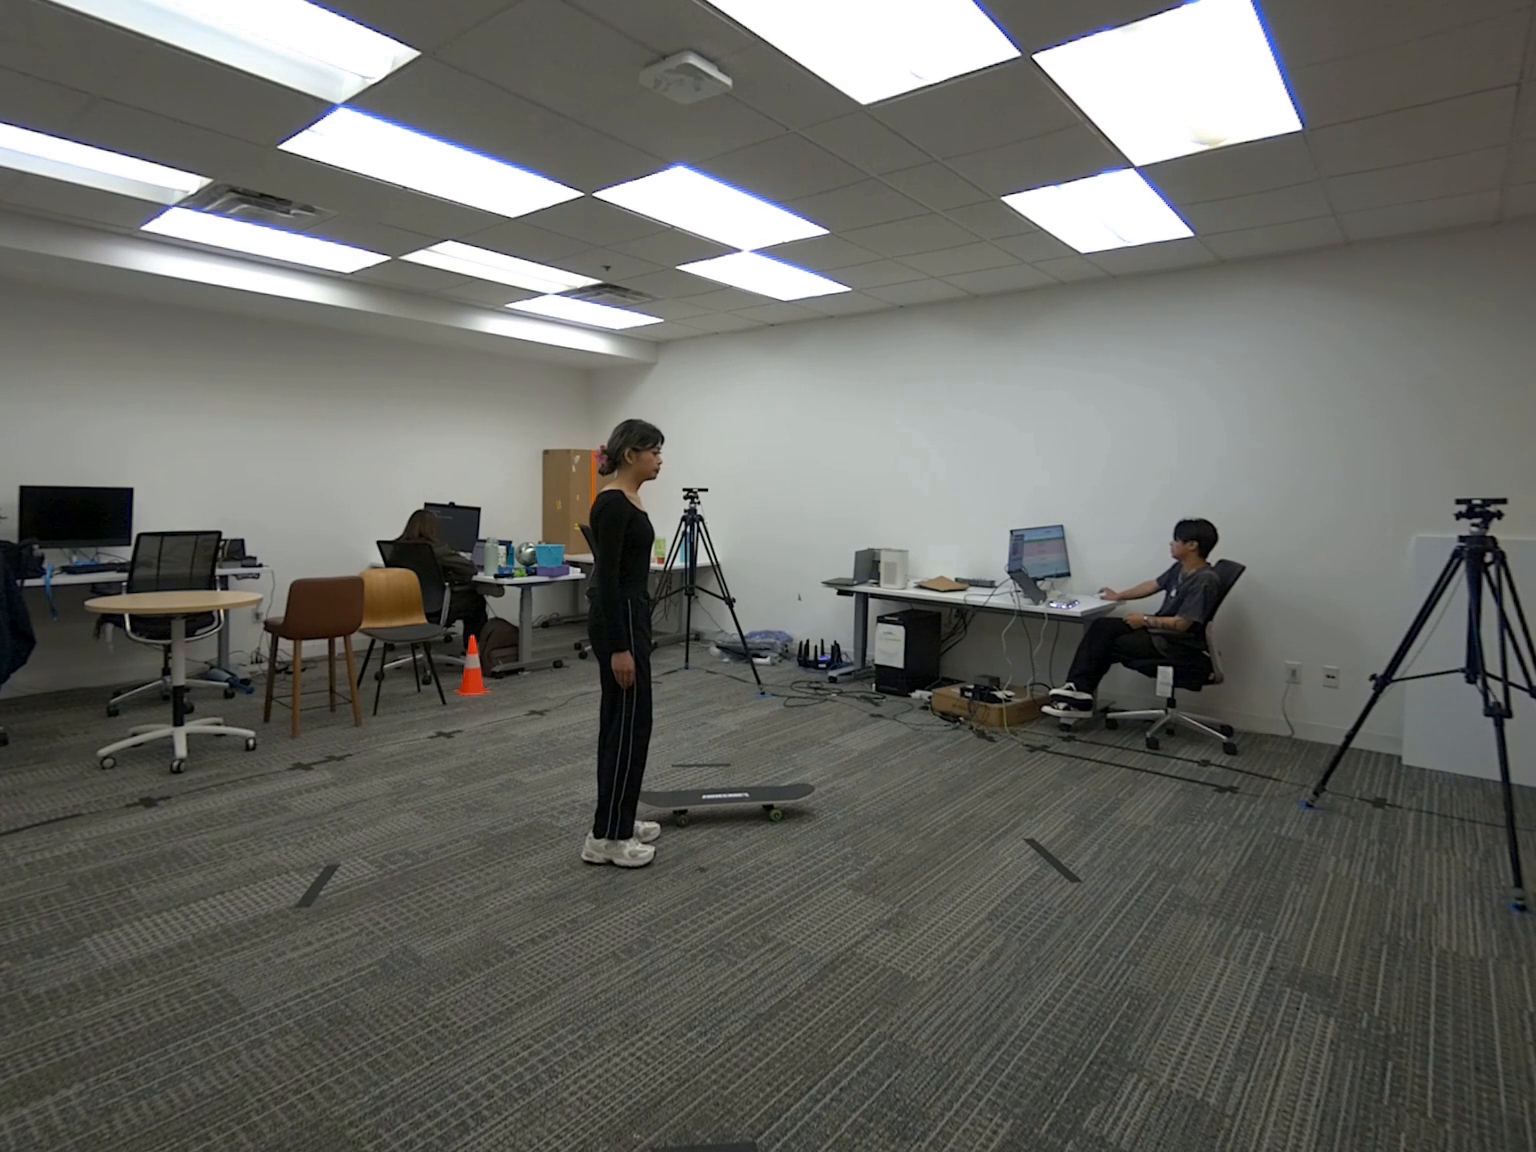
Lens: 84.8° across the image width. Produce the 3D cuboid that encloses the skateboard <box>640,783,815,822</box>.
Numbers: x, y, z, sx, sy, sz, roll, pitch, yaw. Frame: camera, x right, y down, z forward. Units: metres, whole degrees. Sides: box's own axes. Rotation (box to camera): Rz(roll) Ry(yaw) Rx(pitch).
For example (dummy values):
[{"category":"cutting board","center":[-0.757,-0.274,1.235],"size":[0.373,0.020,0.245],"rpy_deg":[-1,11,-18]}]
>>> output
[{"category":"skateboard","center":[-0.190,0.966,3.622],"size":[0.776,0.110,0.196],"rpy_deg":[0,5,-11]}]
